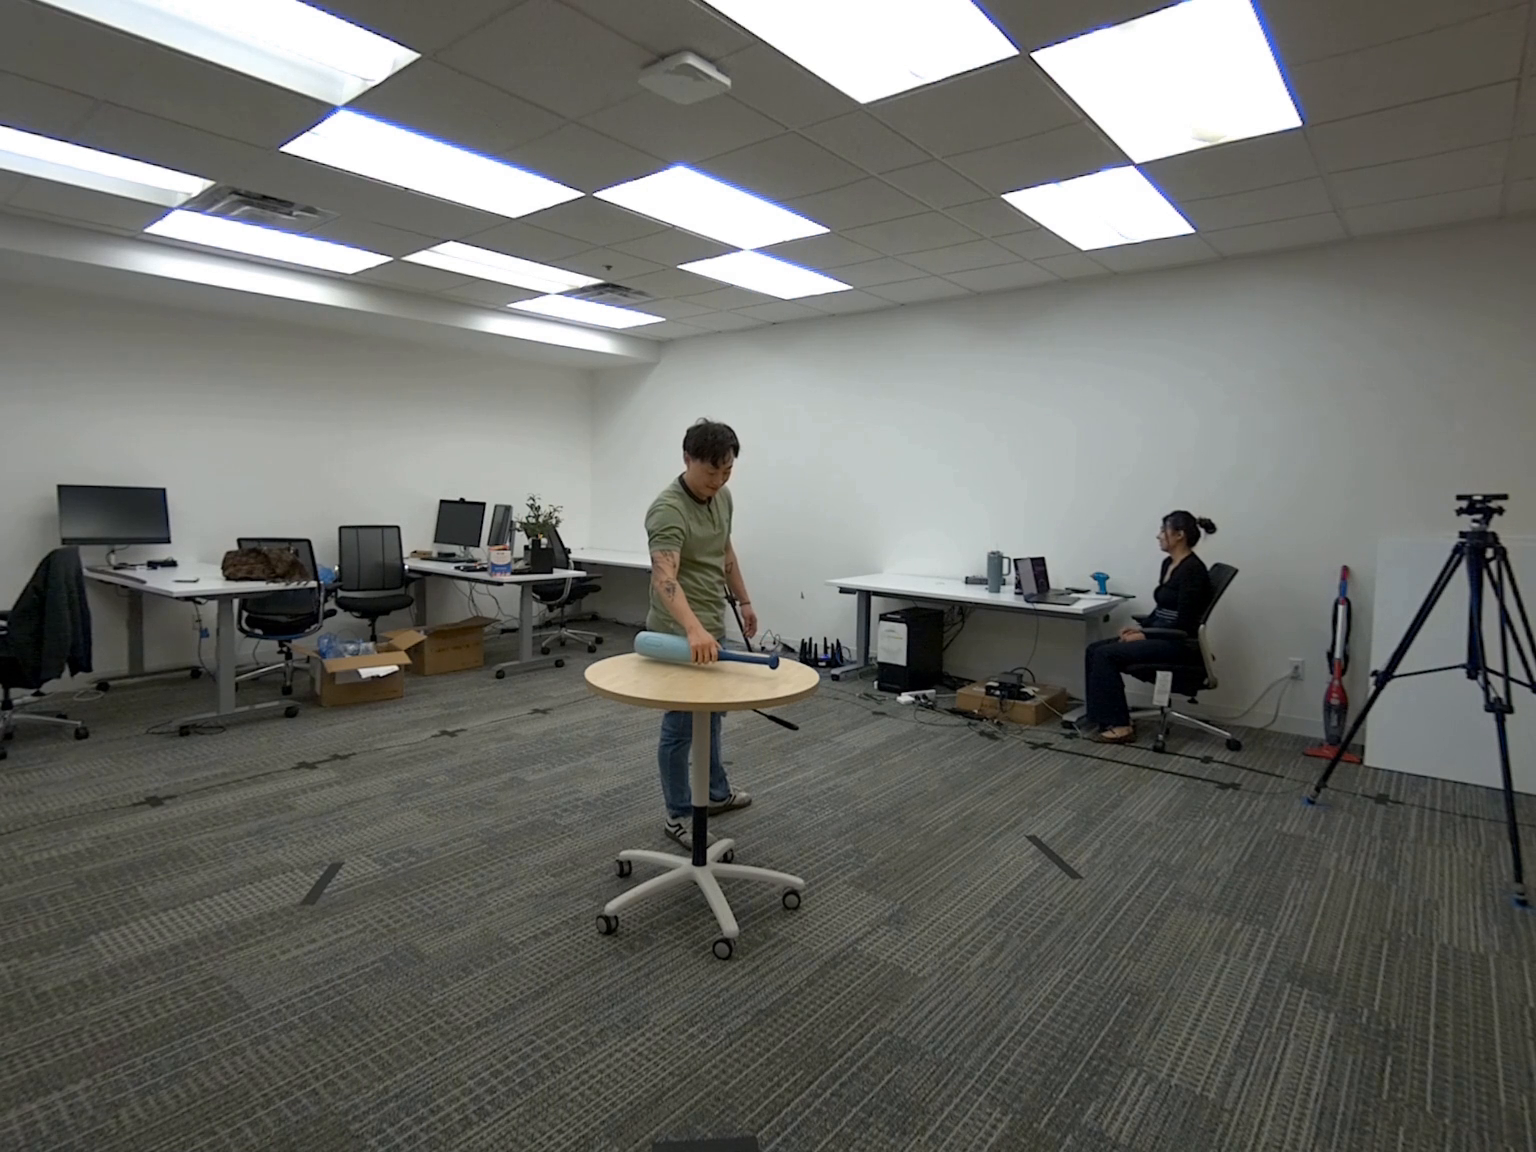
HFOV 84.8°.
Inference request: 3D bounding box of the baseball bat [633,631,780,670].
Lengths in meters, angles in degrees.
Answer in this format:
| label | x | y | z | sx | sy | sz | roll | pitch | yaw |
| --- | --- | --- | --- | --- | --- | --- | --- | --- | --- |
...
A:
| label | x | y | z | sx | sy | sz | roll | pitch | yaw |
| --- | --- | --- | --- | --- | --- | --- | --- | --- | --- |
| baseball bat | -0.217 | 0.255 | 2.850 | 0.559 | 0.089 | 0.087 | 5 | 6 | 29 |
